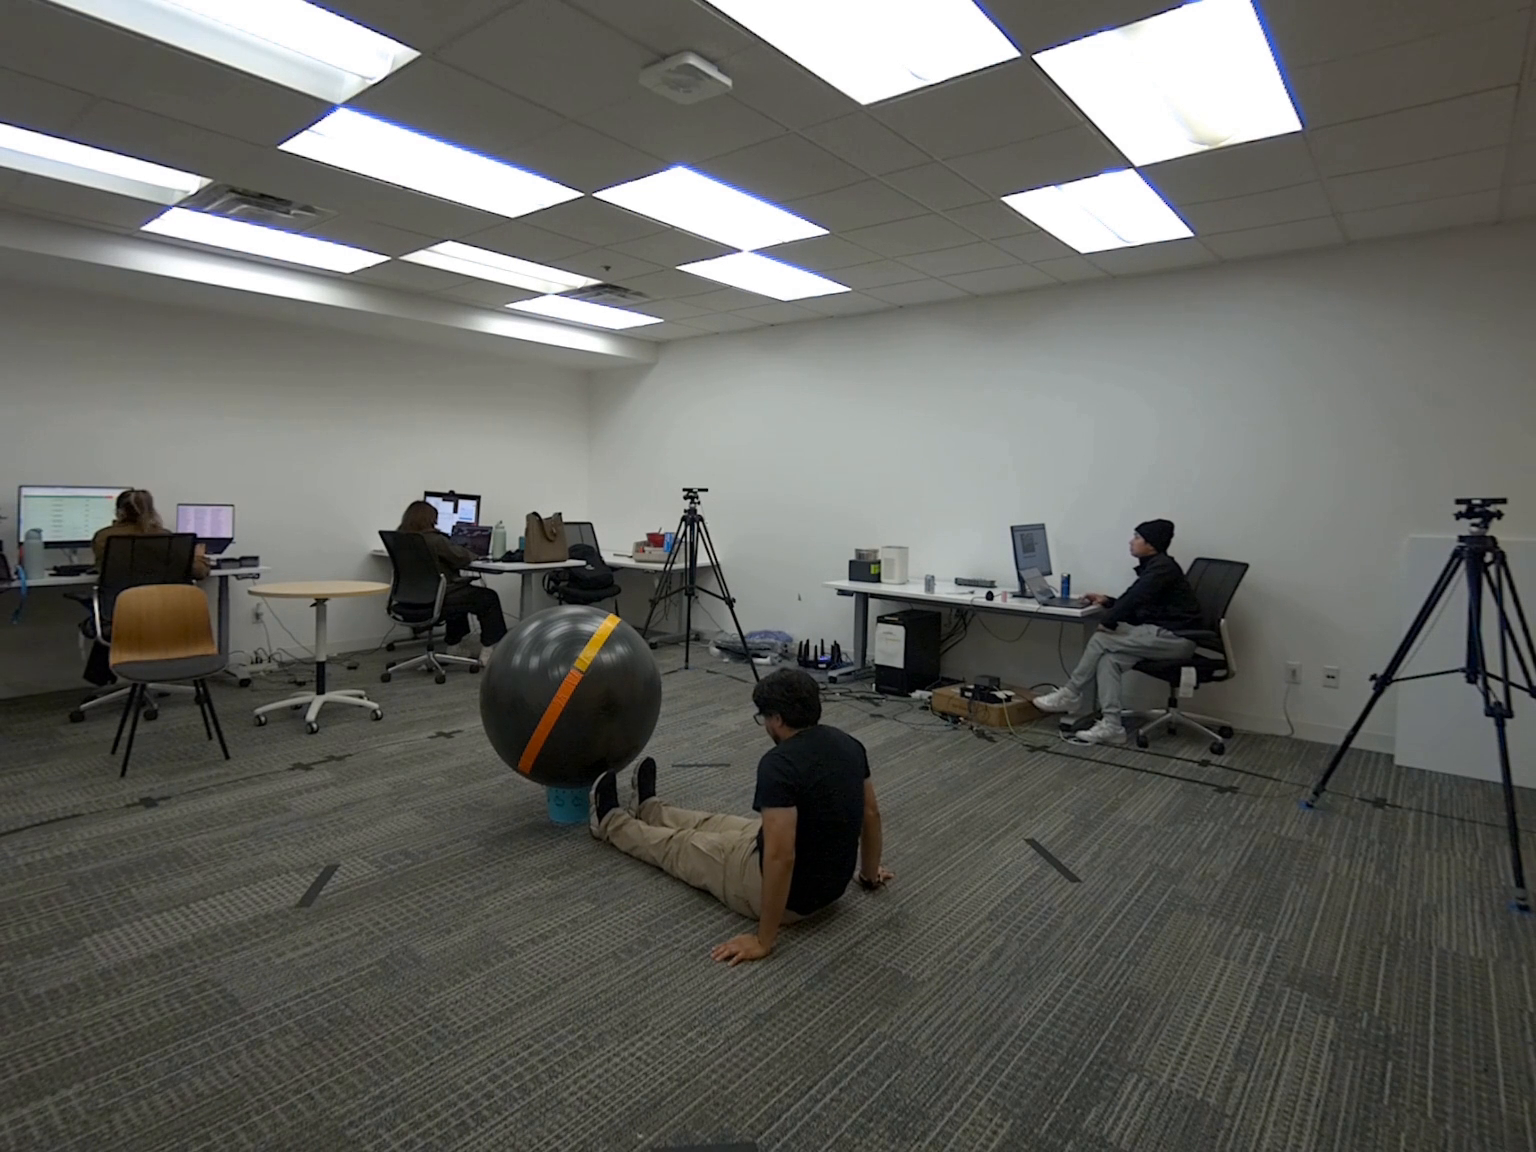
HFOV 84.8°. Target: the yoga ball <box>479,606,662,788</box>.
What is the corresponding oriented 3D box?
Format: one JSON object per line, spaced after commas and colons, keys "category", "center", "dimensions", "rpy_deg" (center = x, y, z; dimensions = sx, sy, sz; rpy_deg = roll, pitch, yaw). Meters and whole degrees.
{"category": "yoga ball", "center": [-0.842, 0.505, 3.594], "dimensions": [0.757, 0.755, 0.762], "rpy_deg": [1, 4, -2]}
